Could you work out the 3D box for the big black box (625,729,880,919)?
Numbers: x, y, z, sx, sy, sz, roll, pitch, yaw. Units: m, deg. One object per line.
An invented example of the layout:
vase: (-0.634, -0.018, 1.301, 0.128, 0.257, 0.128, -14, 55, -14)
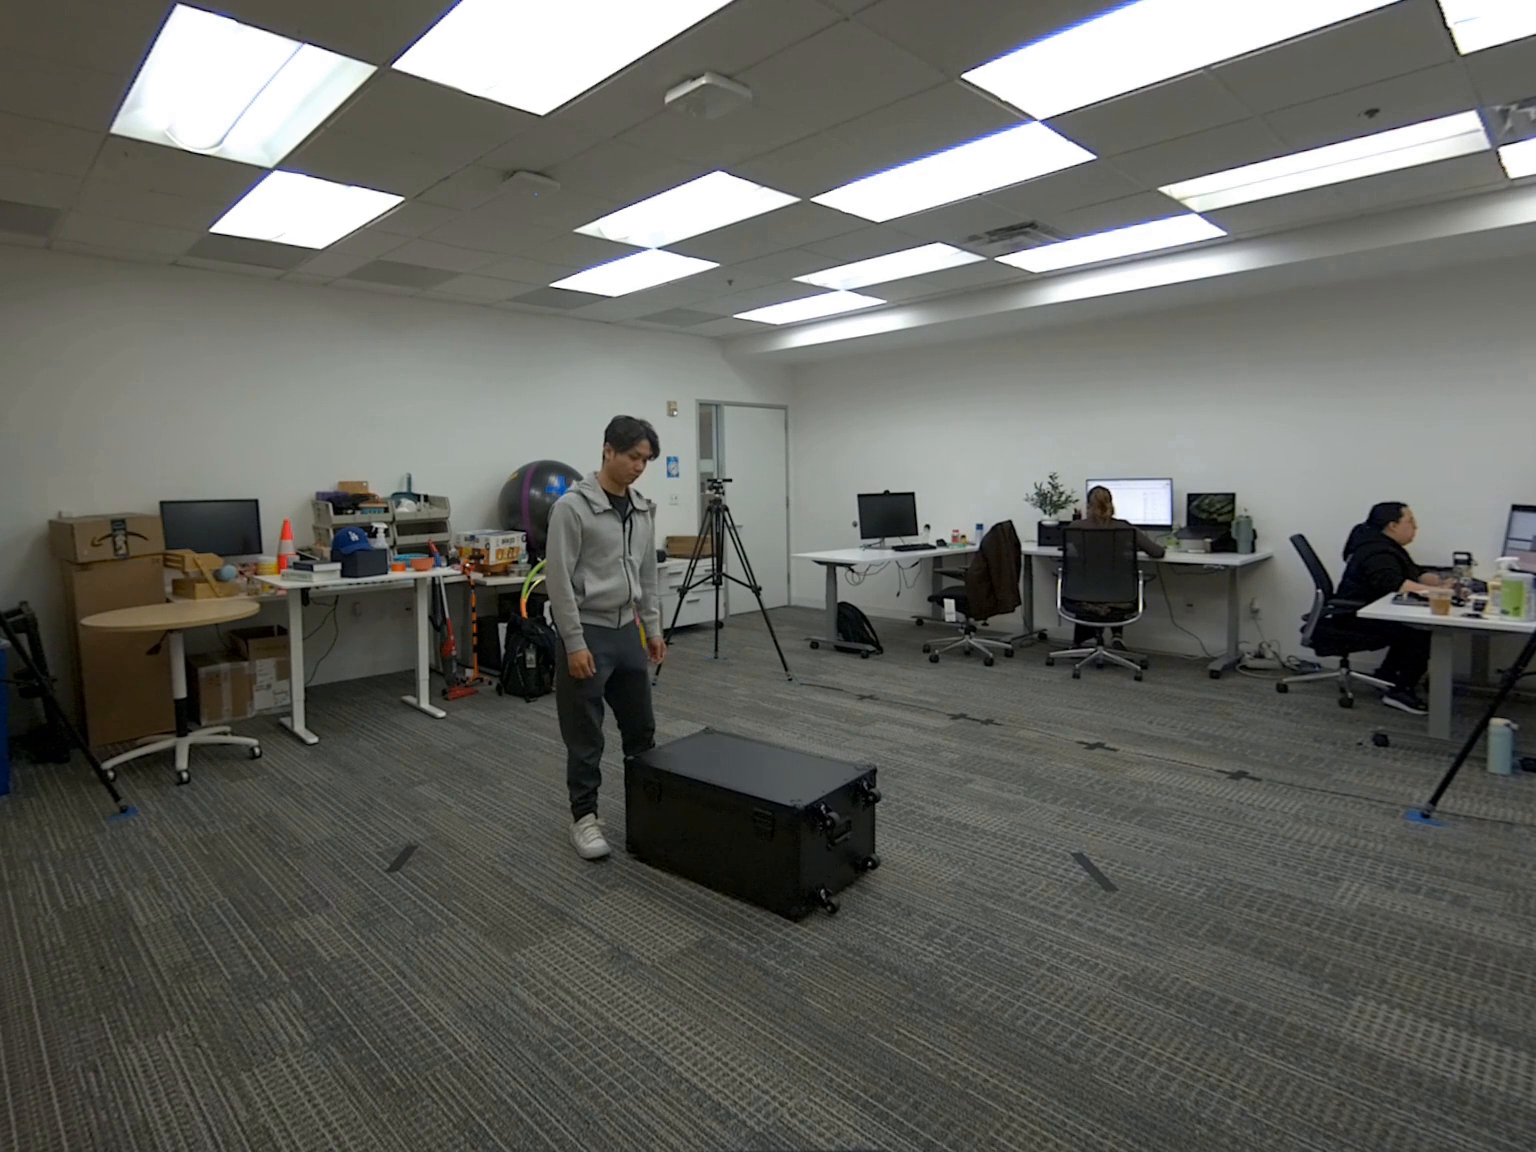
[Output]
big black box: (-0.046, 0.859, 3.063, 0.887, 0.395, 0.508, 3, 7, 38)
